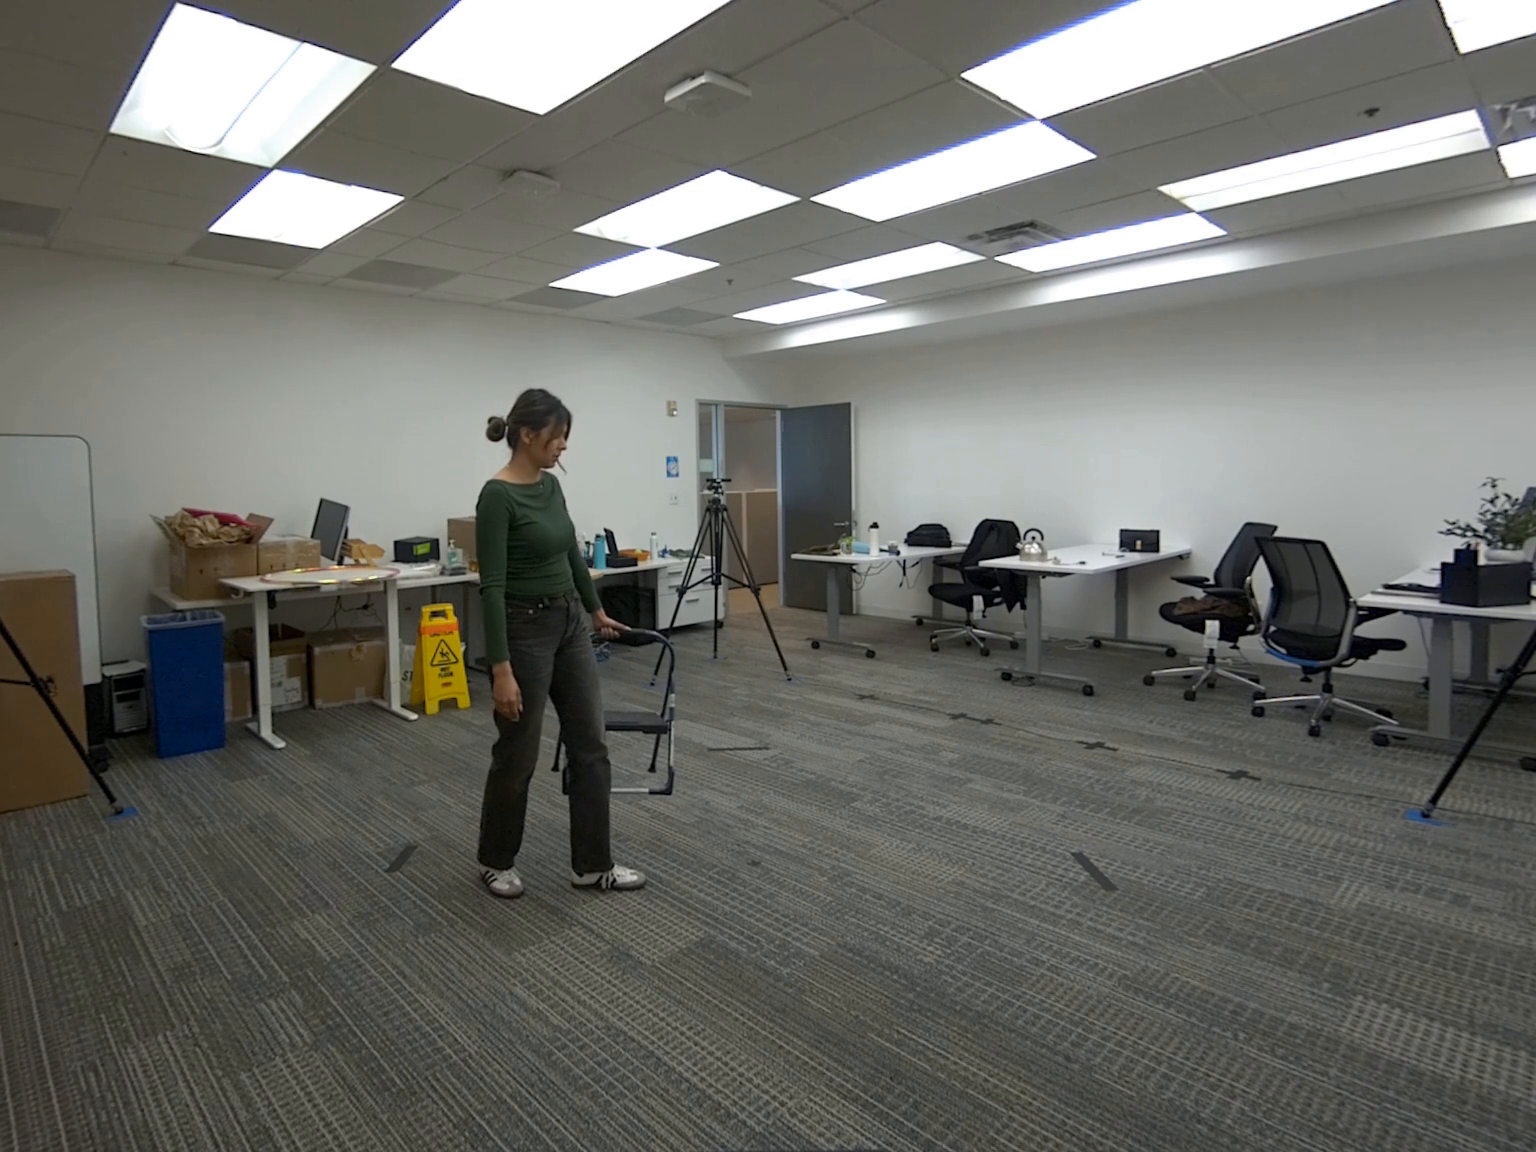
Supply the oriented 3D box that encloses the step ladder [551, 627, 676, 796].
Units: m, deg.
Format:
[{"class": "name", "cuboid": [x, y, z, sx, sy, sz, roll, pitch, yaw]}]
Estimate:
[{"class": "step ladder", "cuboid": [-0.579, 0.502, 3.318, 0.422, 0.606, 0.356, 5, -1, -20]}]
